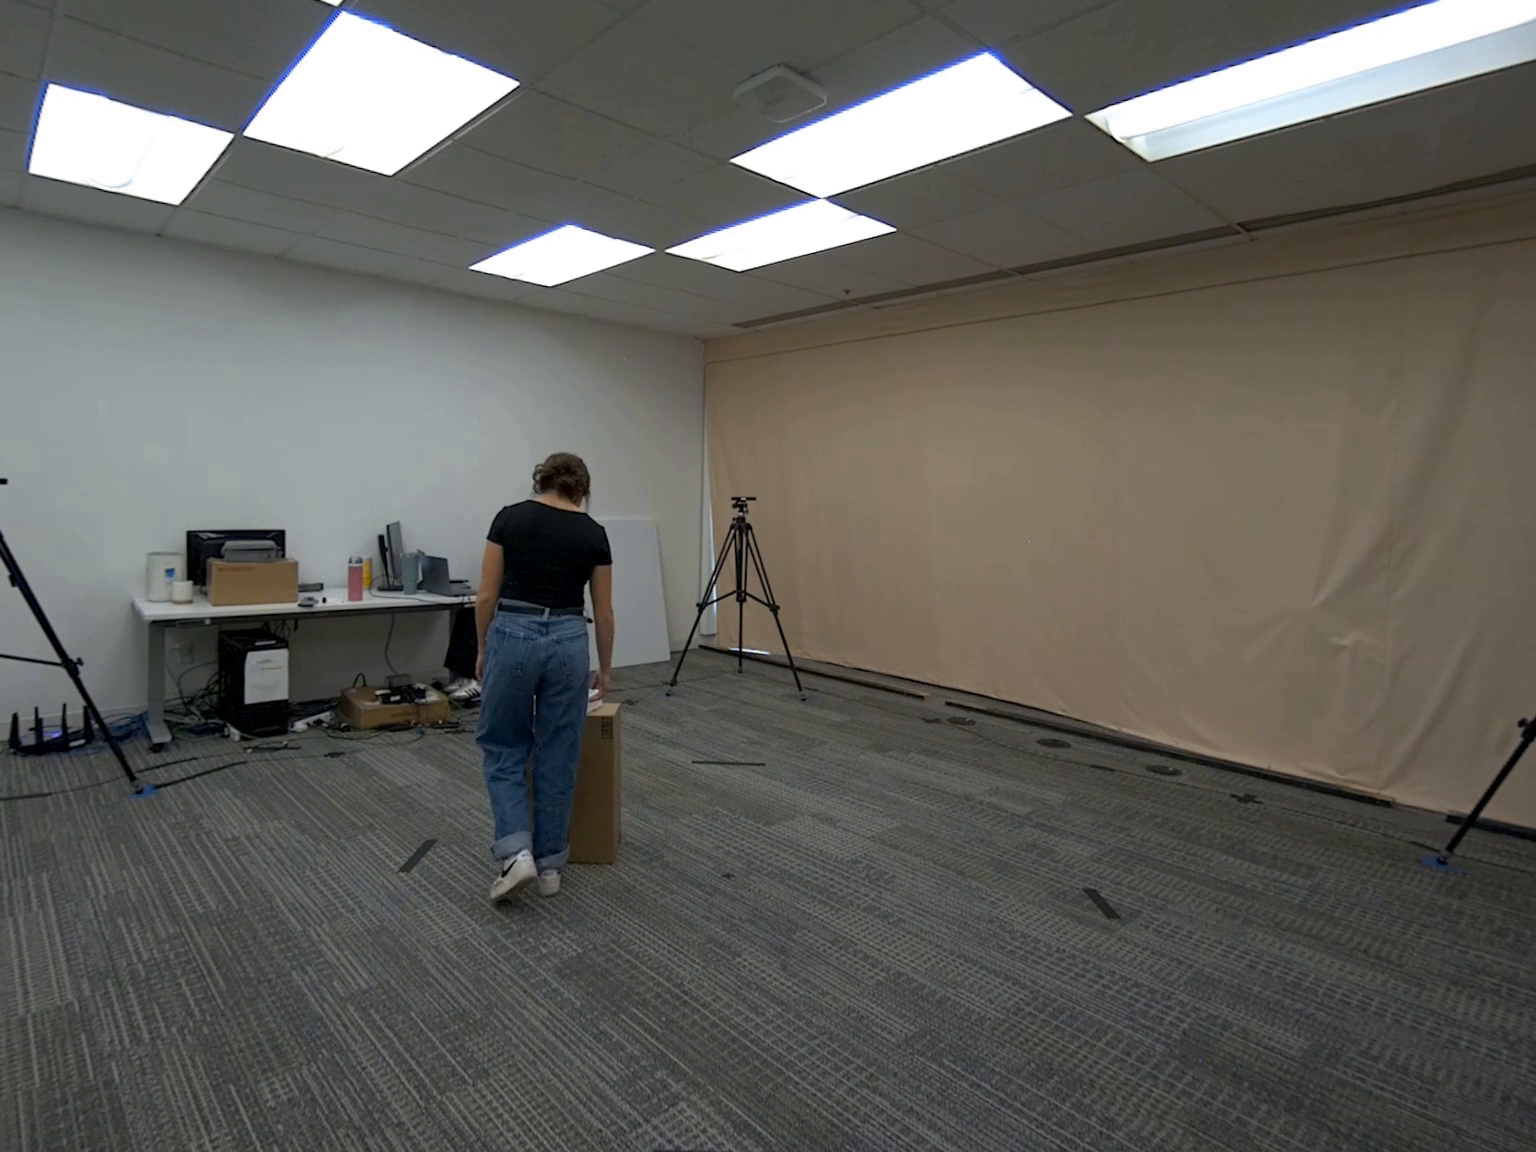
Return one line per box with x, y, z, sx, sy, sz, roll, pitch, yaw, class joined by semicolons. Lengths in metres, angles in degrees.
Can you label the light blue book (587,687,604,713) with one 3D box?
-0.812;0.491;3.275;0.264;0.059;0.189;2;4;13;light blue book
